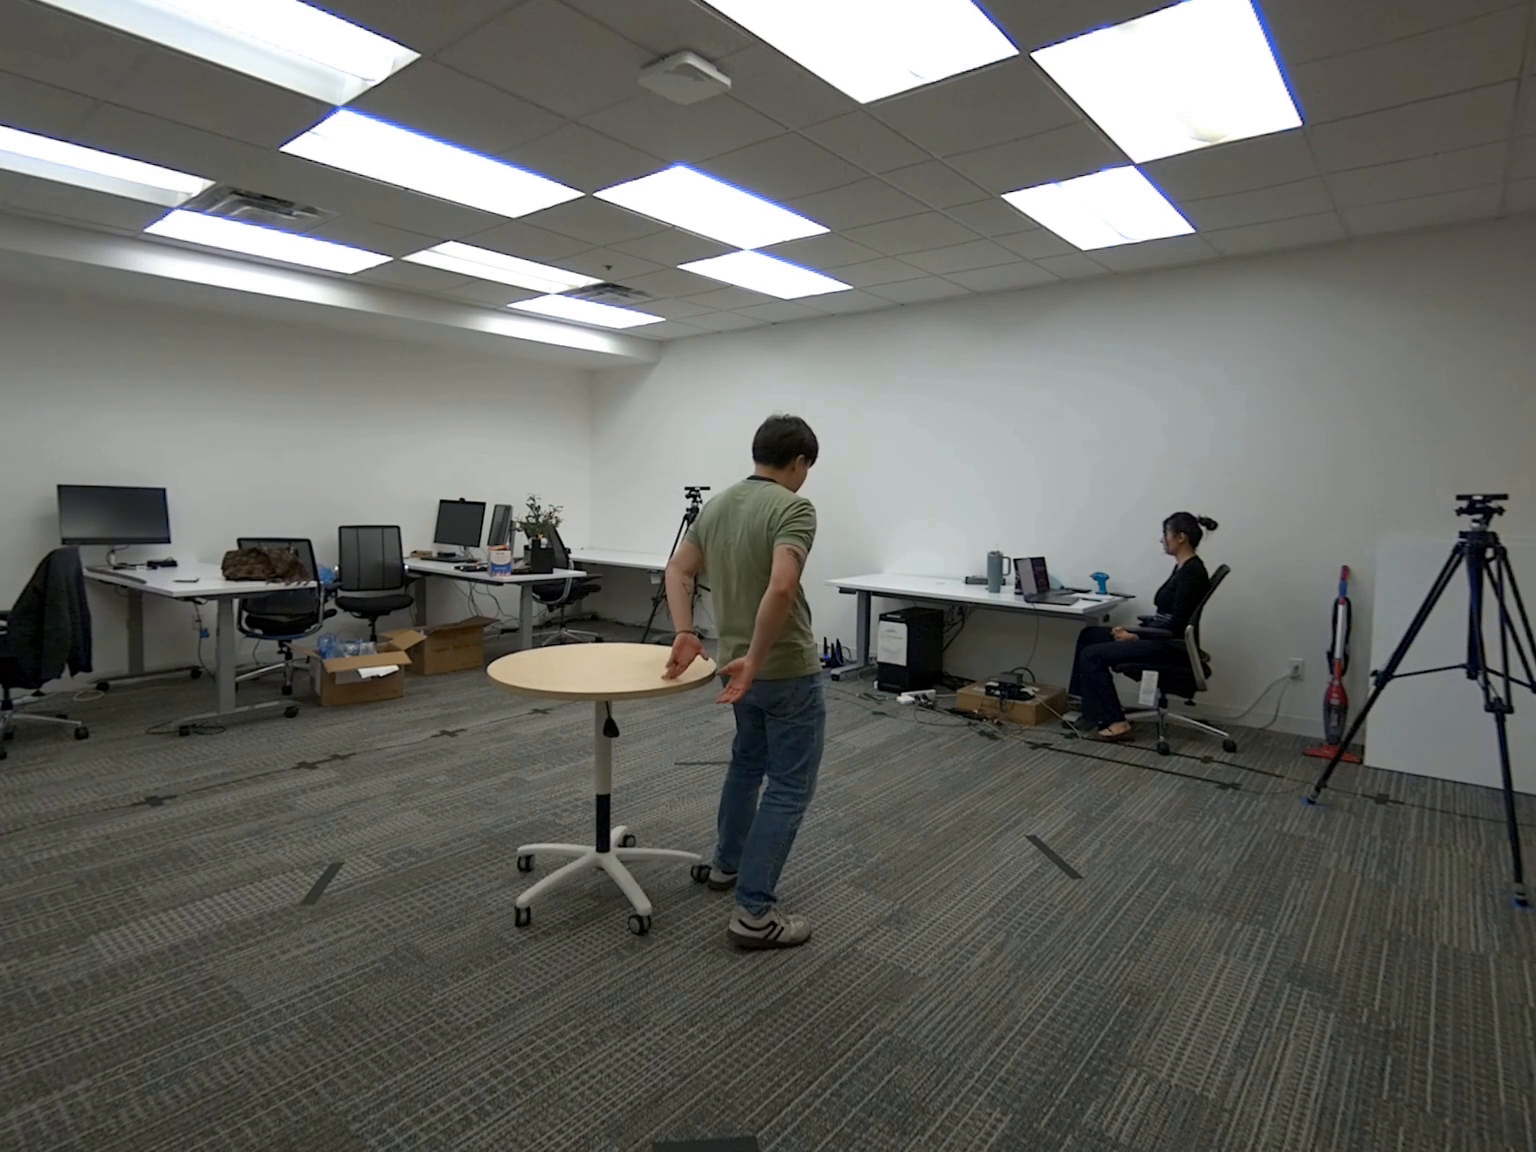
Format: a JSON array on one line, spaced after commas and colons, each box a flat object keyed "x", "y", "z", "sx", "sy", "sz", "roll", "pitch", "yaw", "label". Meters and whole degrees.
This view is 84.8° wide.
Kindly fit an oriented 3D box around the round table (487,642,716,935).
[{"x": -0.572, "y": 0.692, "z": 2.906, "sx": 0.763, "sy": 0.791, "sz": 0.768, "roll": 0, "pitch": 5, "yaw": -2, "label": "round table"}]
